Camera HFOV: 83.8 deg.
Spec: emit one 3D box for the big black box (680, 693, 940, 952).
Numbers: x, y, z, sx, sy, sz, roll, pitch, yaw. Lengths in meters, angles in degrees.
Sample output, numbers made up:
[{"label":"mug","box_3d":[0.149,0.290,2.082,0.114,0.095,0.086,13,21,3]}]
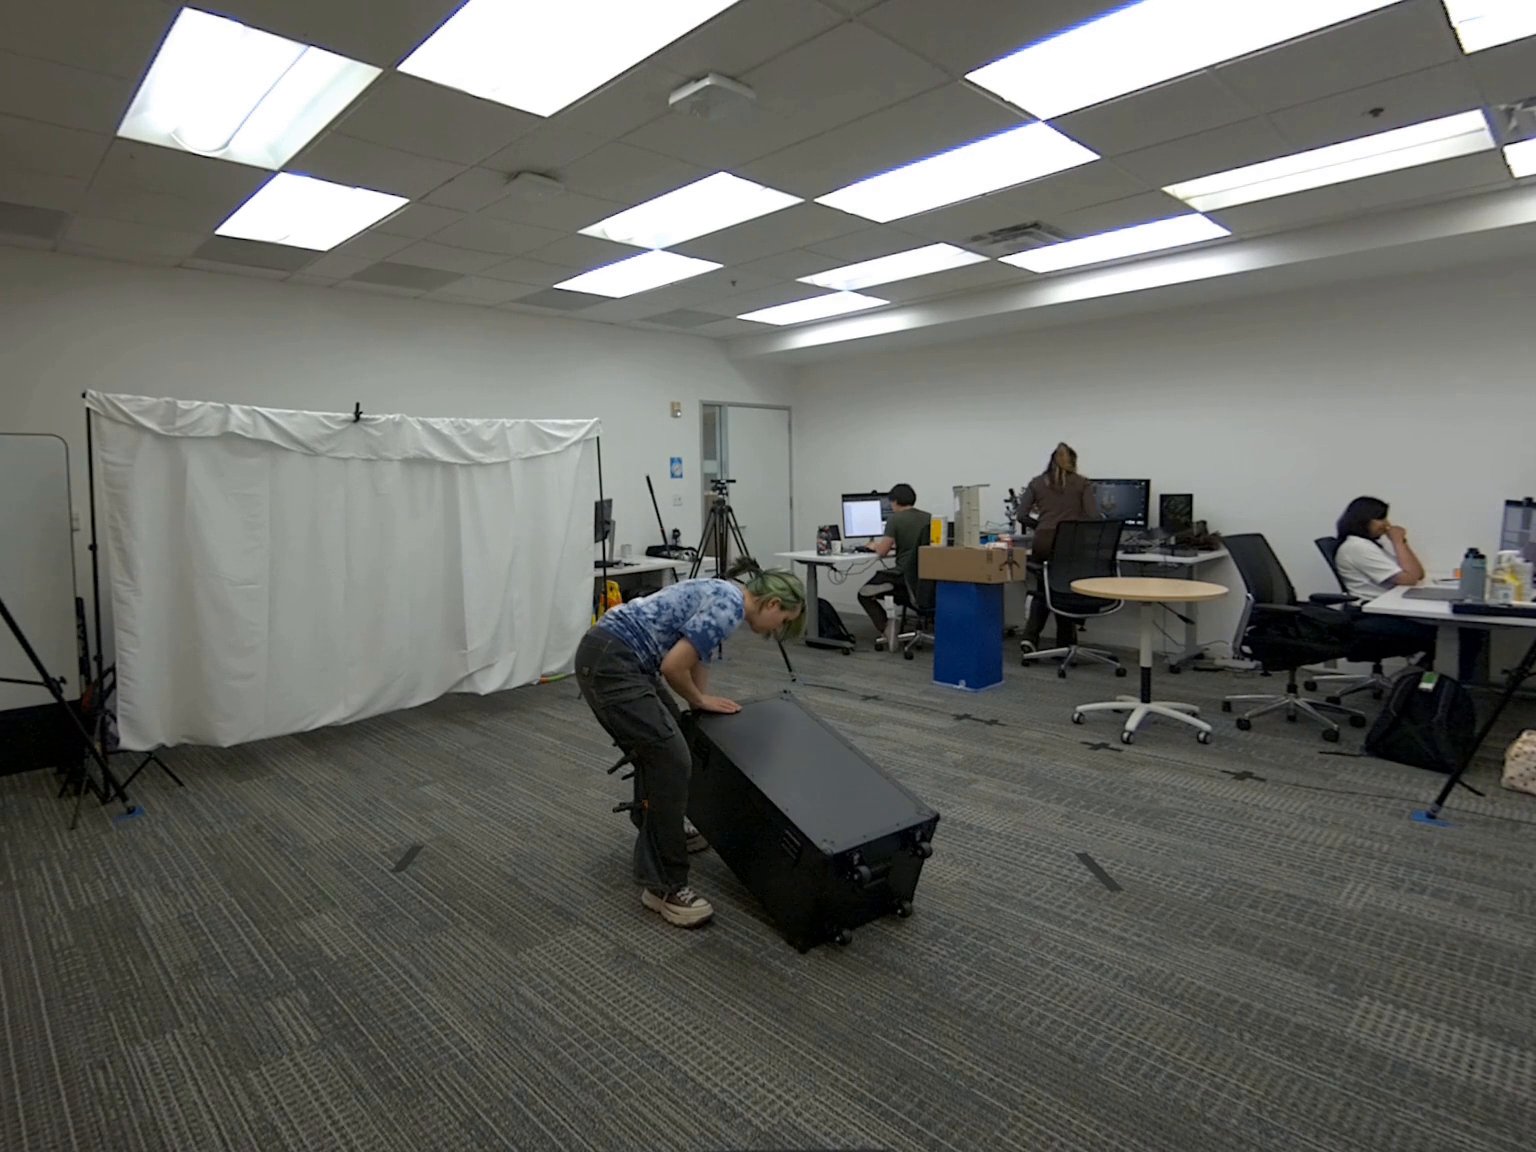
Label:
[{"label":"big black box","box_3d":[0.107,0.798,2.862,0.508,0.391,0.895,-5,25,-37]}]
